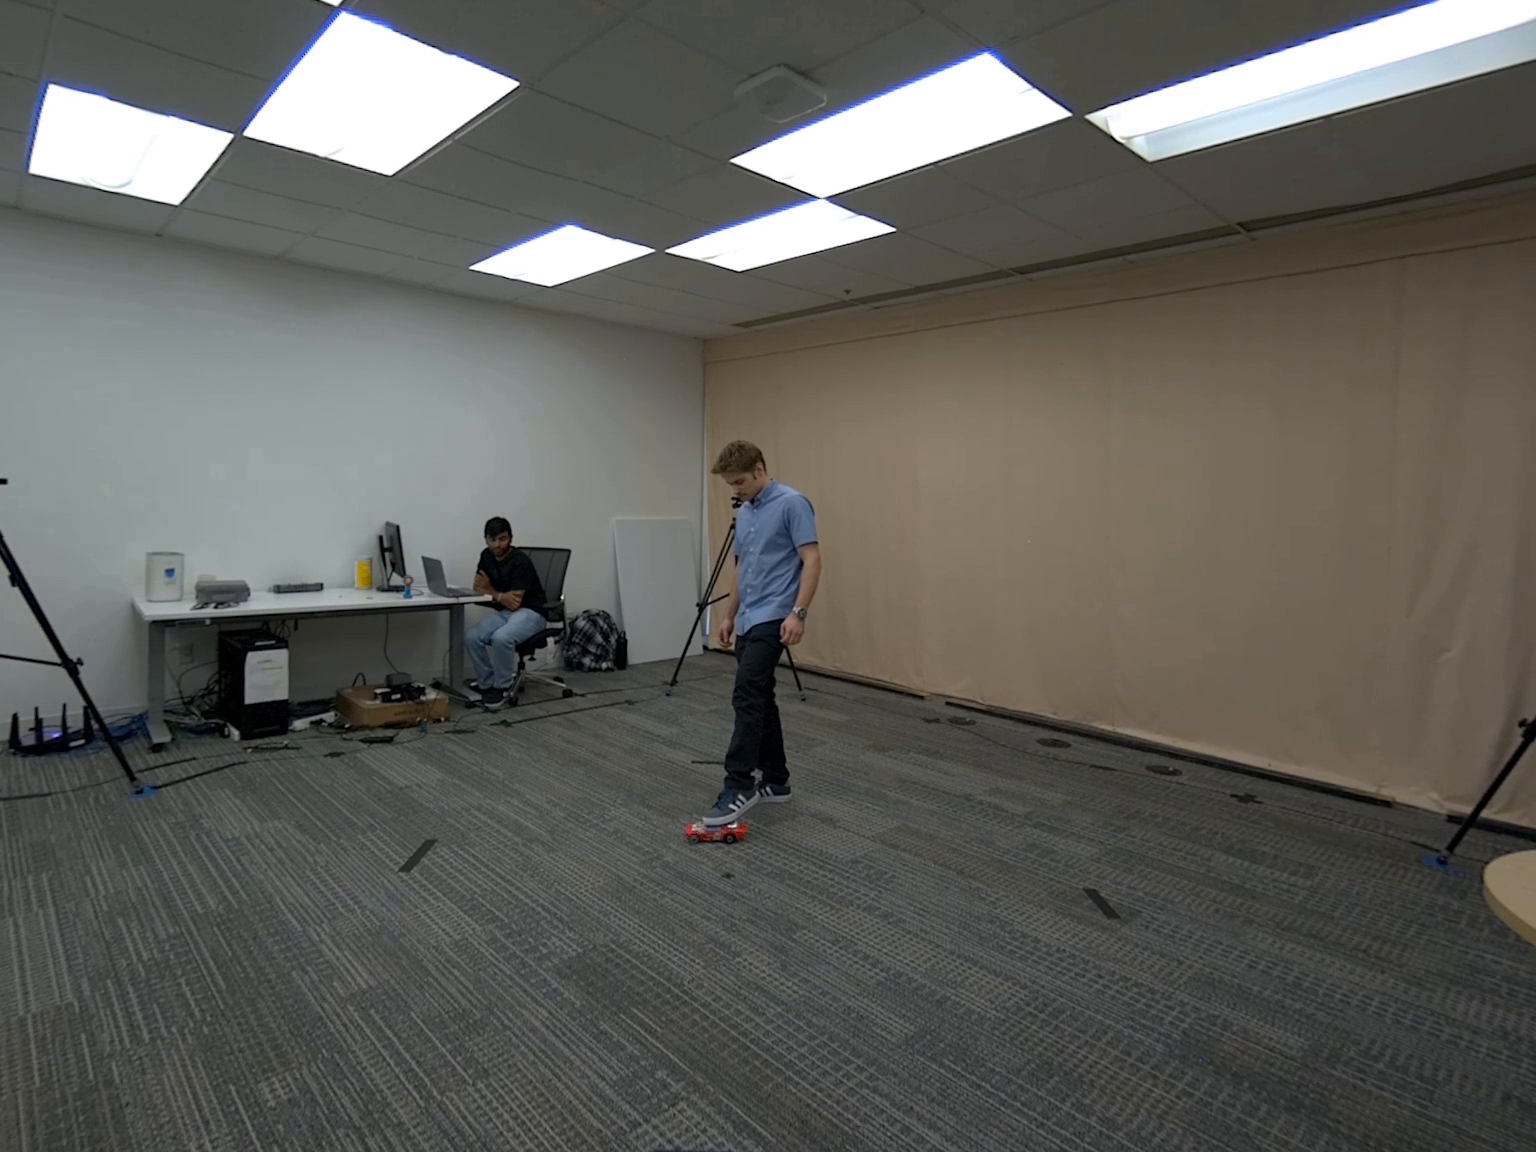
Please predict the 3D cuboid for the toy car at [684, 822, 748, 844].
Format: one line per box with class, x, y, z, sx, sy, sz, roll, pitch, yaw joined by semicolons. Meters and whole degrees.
toy car;-0.220;1.047;3.445;0.254;0.083;0.131;-10;5;-1
